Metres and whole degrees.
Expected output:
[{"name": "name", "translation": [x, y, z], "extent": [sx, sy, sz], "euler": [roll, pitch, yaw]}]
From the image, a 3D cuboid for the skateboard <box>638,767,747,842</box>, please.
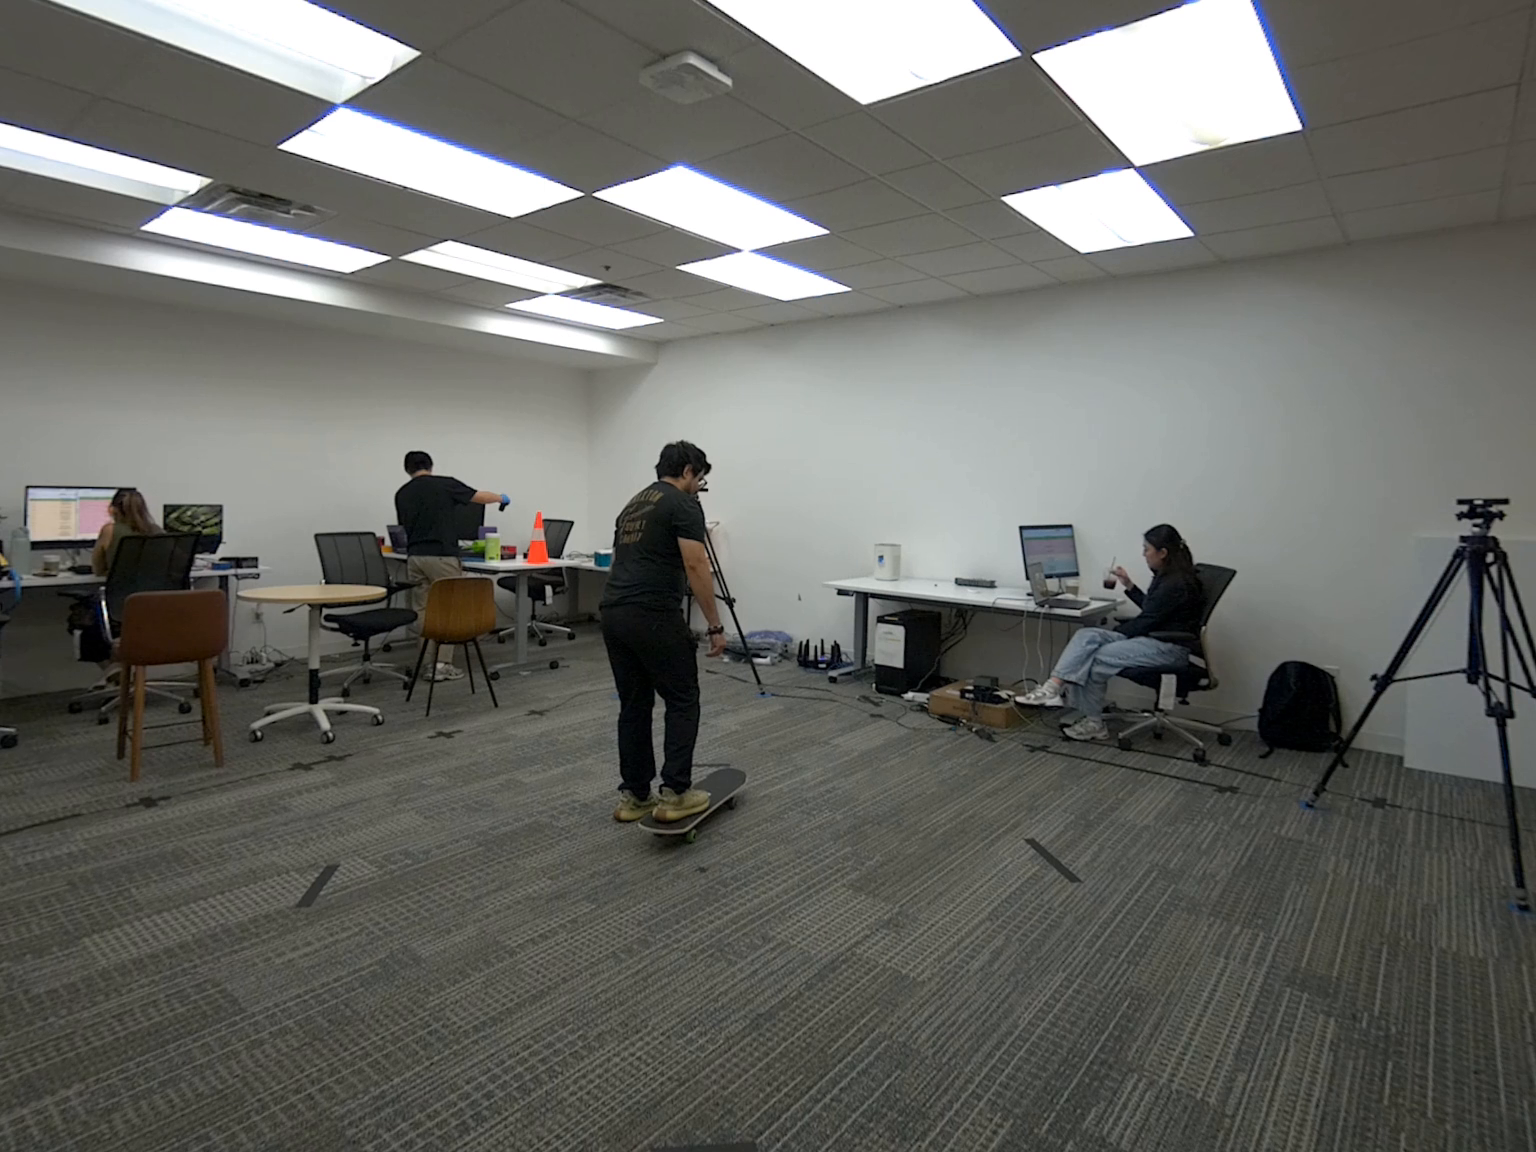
[{"name": "skateboard", "translation": [-0.306, 0.974, 3.572], "extent": [0.198, 0.110, 0.770], "euler": [3, 6, 22]}]
